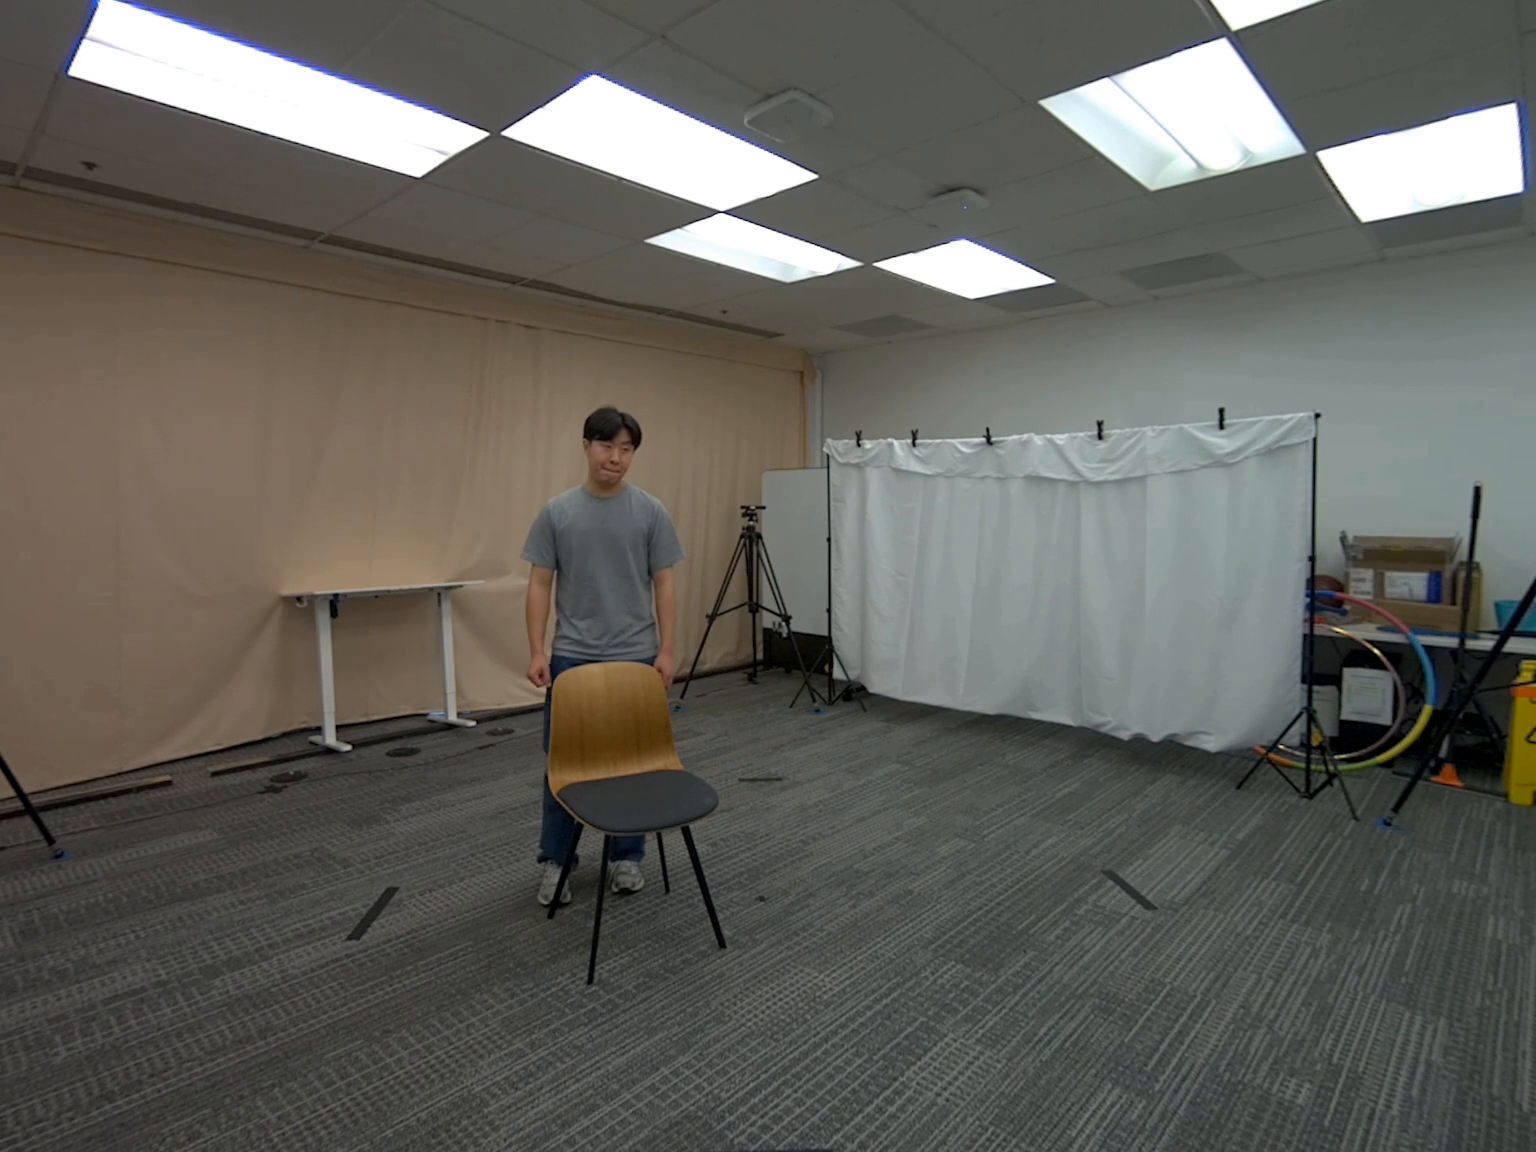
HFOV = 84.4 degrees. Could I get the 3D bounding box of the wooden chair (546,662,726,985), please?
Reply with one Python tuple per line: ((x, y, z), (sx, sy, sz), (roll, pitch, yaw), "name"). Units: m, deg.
((-0.432, 0.743, 2.712), (0.466, 0.878, 0.536), (-2, -1, -28), "wooden chair")
